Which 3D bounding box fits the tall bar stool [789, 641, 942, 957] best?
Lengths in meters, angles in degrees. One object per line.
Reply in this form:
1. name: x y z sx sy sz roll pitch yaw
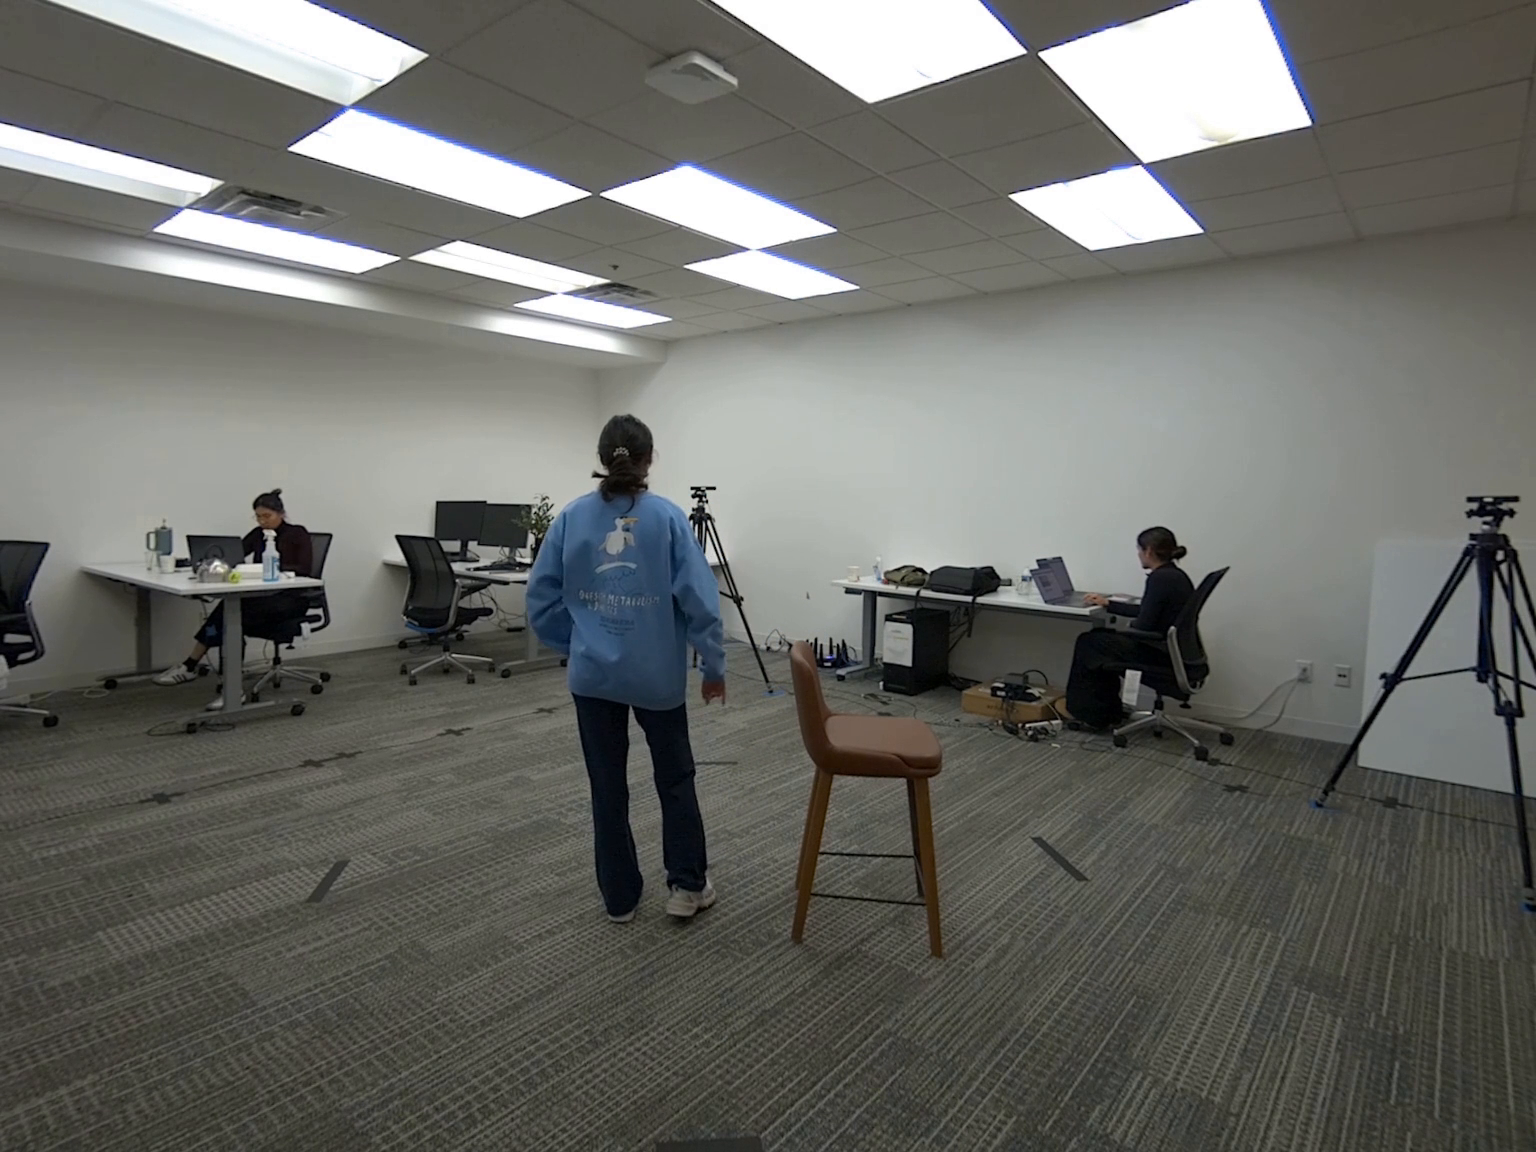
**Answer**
1. tall bar stool: 0.307 0.677 2.744 0.471 0.887 0.454 0 3 6
